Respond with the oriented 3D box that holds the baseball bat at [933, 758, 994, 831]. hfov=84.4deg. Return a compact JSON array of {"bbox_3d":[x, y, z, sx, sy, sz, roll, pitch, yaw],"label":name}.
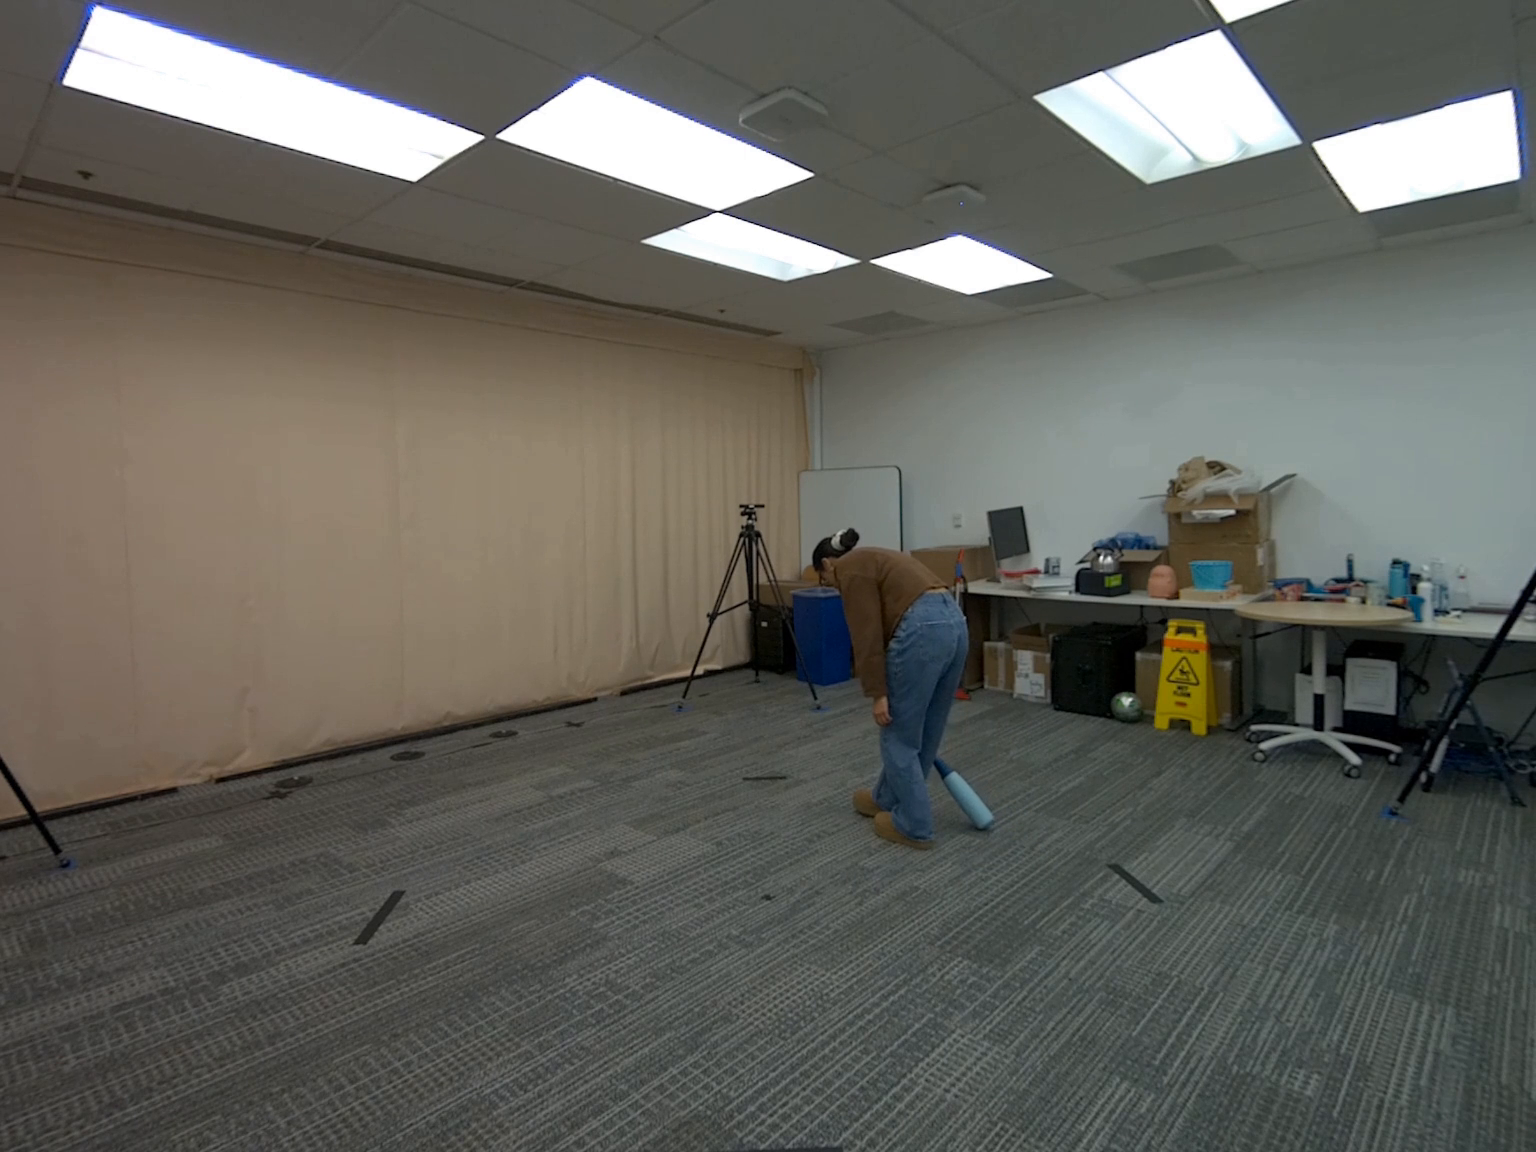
[{"bbox_3d":[0.783,0.860,3.683,0.086,0.089,0.559,-4,47,-47],"label":"baseball bat"}]
